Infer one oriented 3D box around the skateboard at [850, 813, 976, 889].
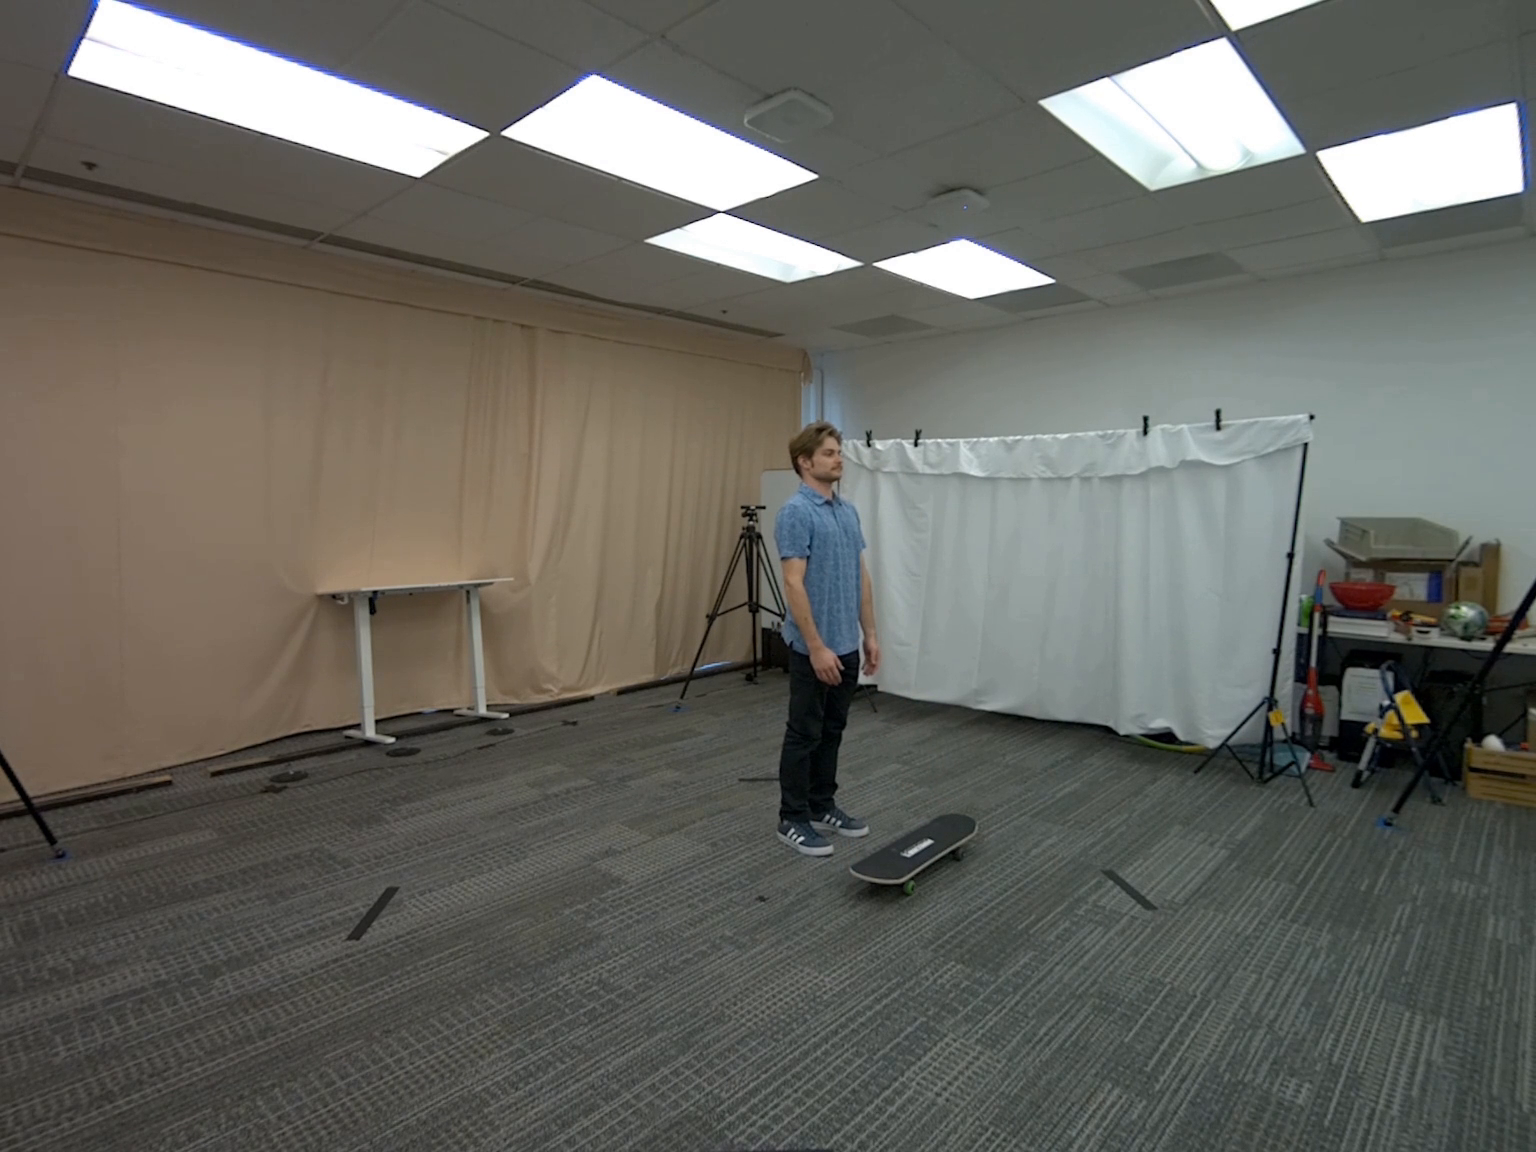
[{"bbox_3d":[0.572,1.068,3.206,0.200,0.110,0.762,3,6,40],"label":"skateboard"}]
